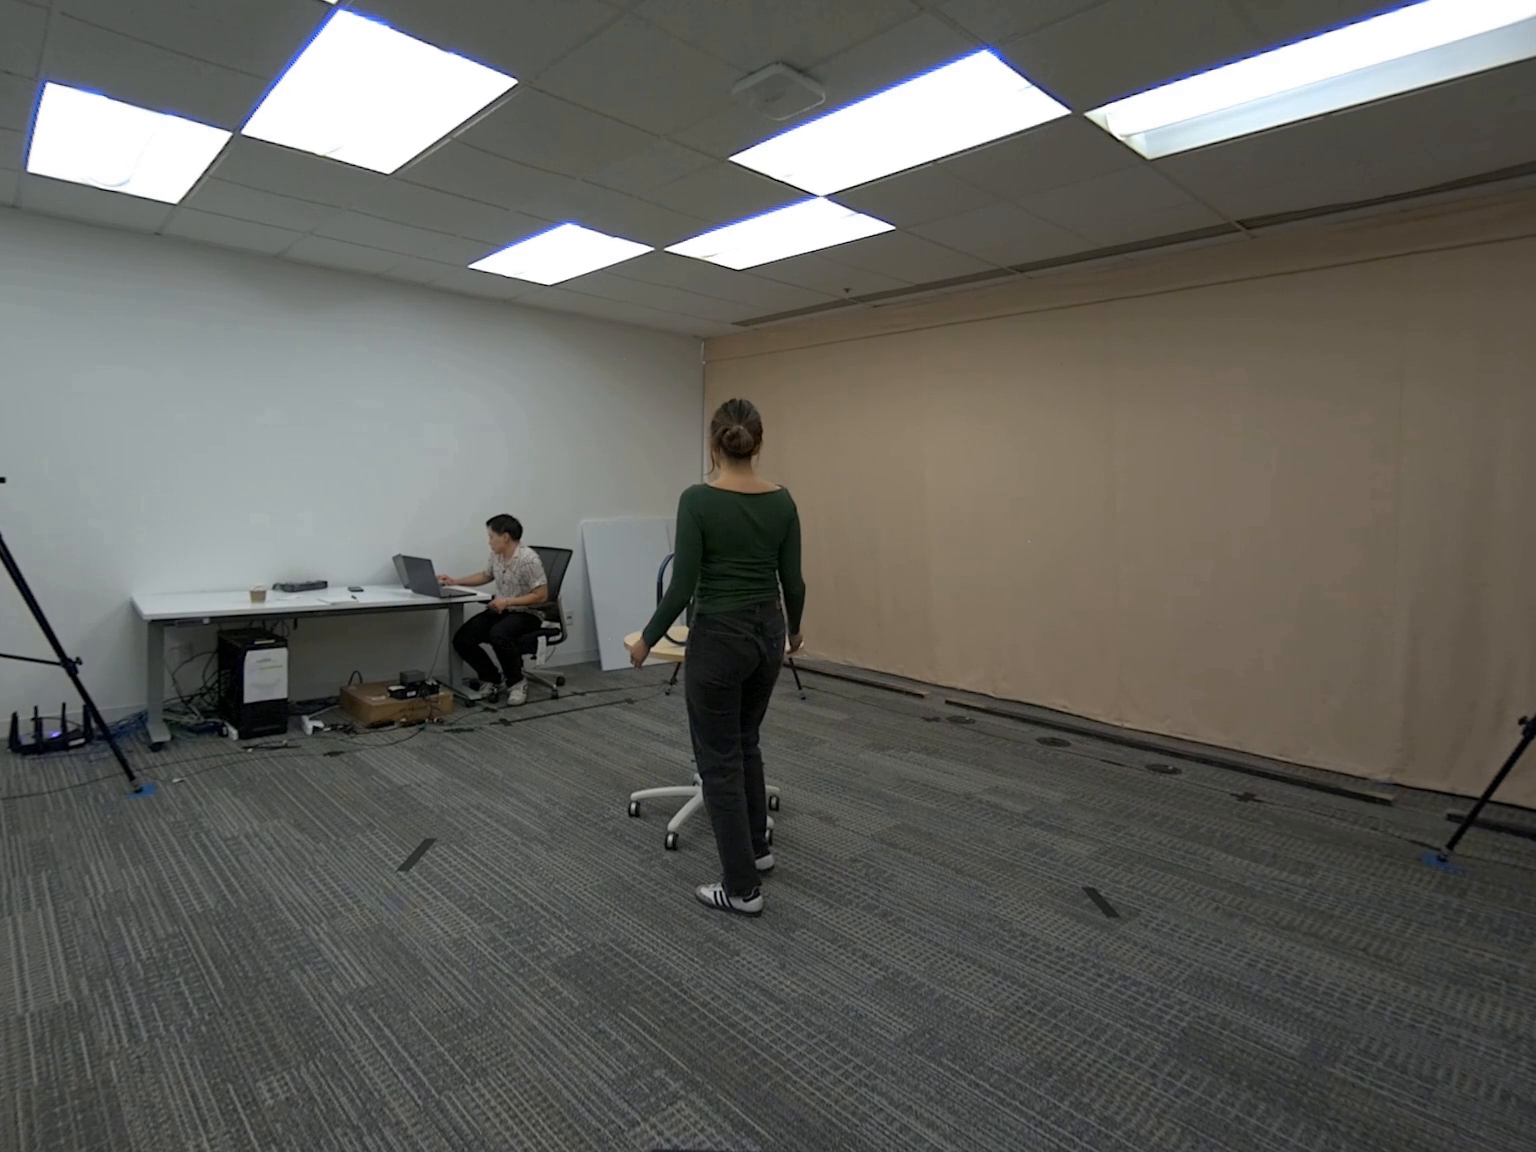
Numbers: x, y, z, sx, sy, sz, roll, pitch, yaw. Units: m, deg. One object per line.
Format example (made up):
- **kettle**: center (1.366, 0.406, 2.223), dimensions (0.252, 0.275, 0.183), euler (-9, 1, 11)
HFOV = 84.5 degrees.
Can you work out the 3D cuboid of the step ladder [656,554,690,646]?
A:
- **step ladder**: center (-0.242, 0.068, 3.571), dimensions (0.356, 0.429, 0.596), euler (1, 5, 25)
